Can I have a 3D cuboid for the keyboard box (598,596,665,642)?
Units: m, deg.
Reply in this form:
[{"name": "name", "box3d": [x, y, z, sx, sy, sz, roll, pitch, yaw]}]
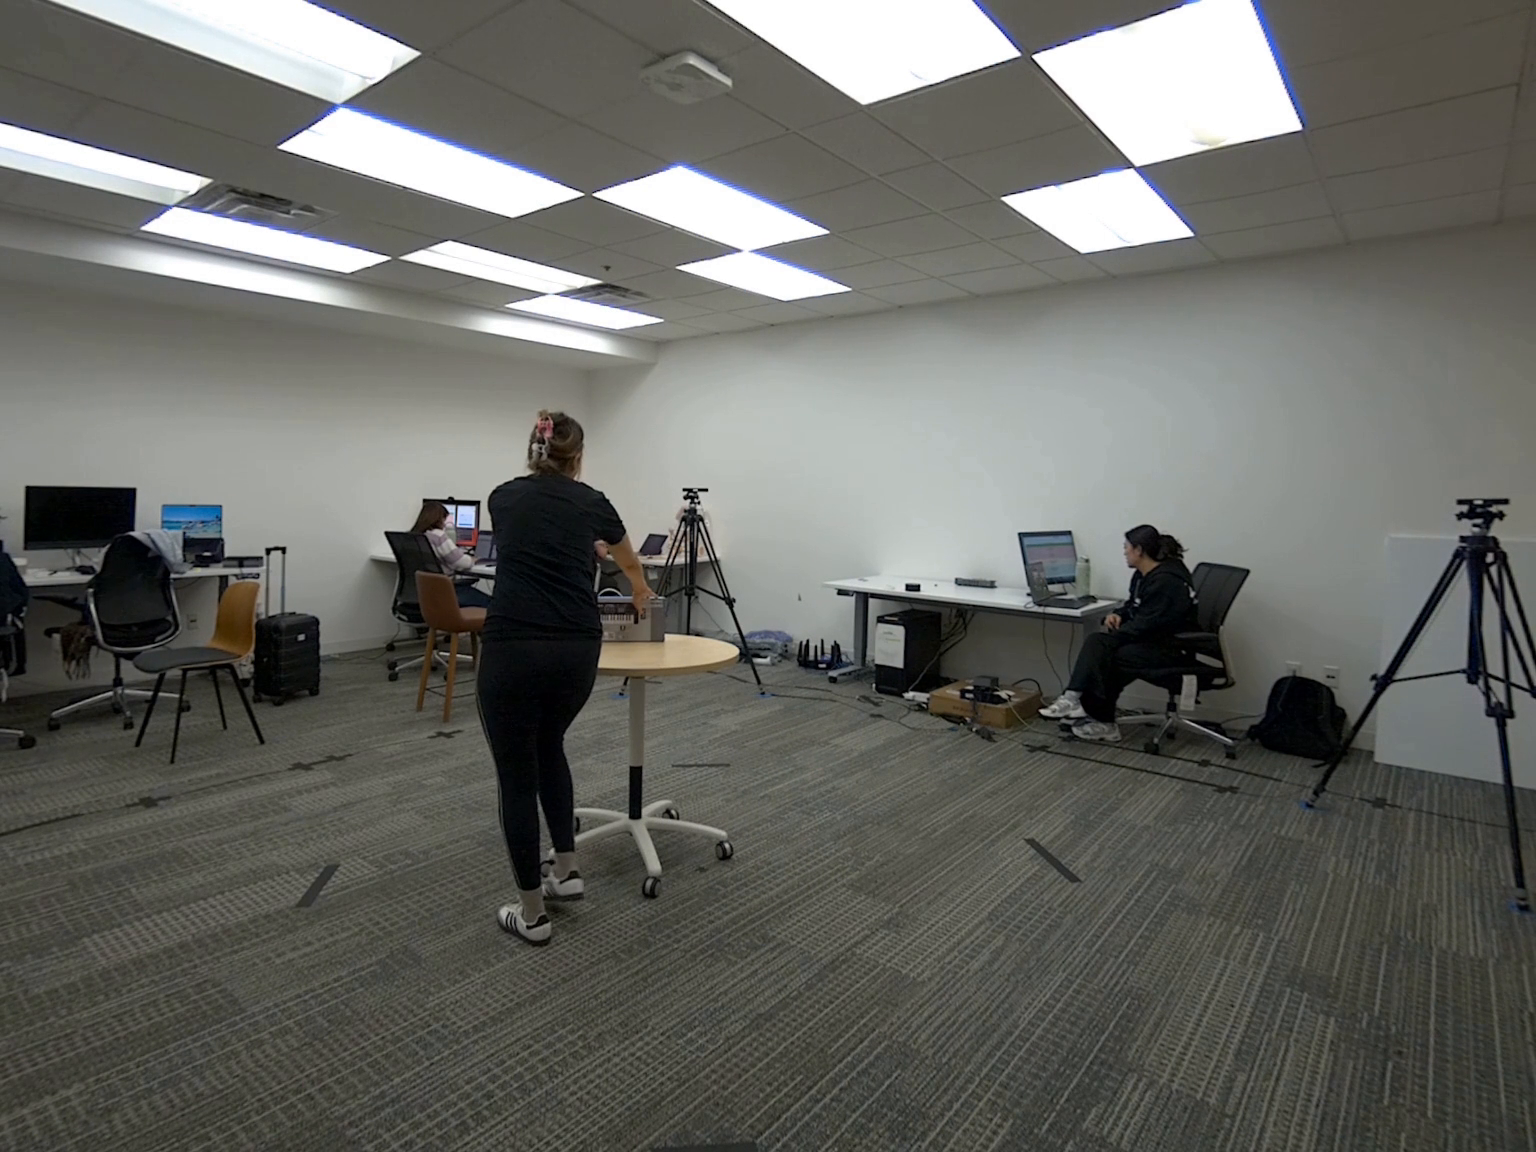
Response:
[{"name": "keyboard box", "box3d": [-0.635, 0.171, 3.366, 0.434, 0.175, 0.059, 1, 3, -5]}]
